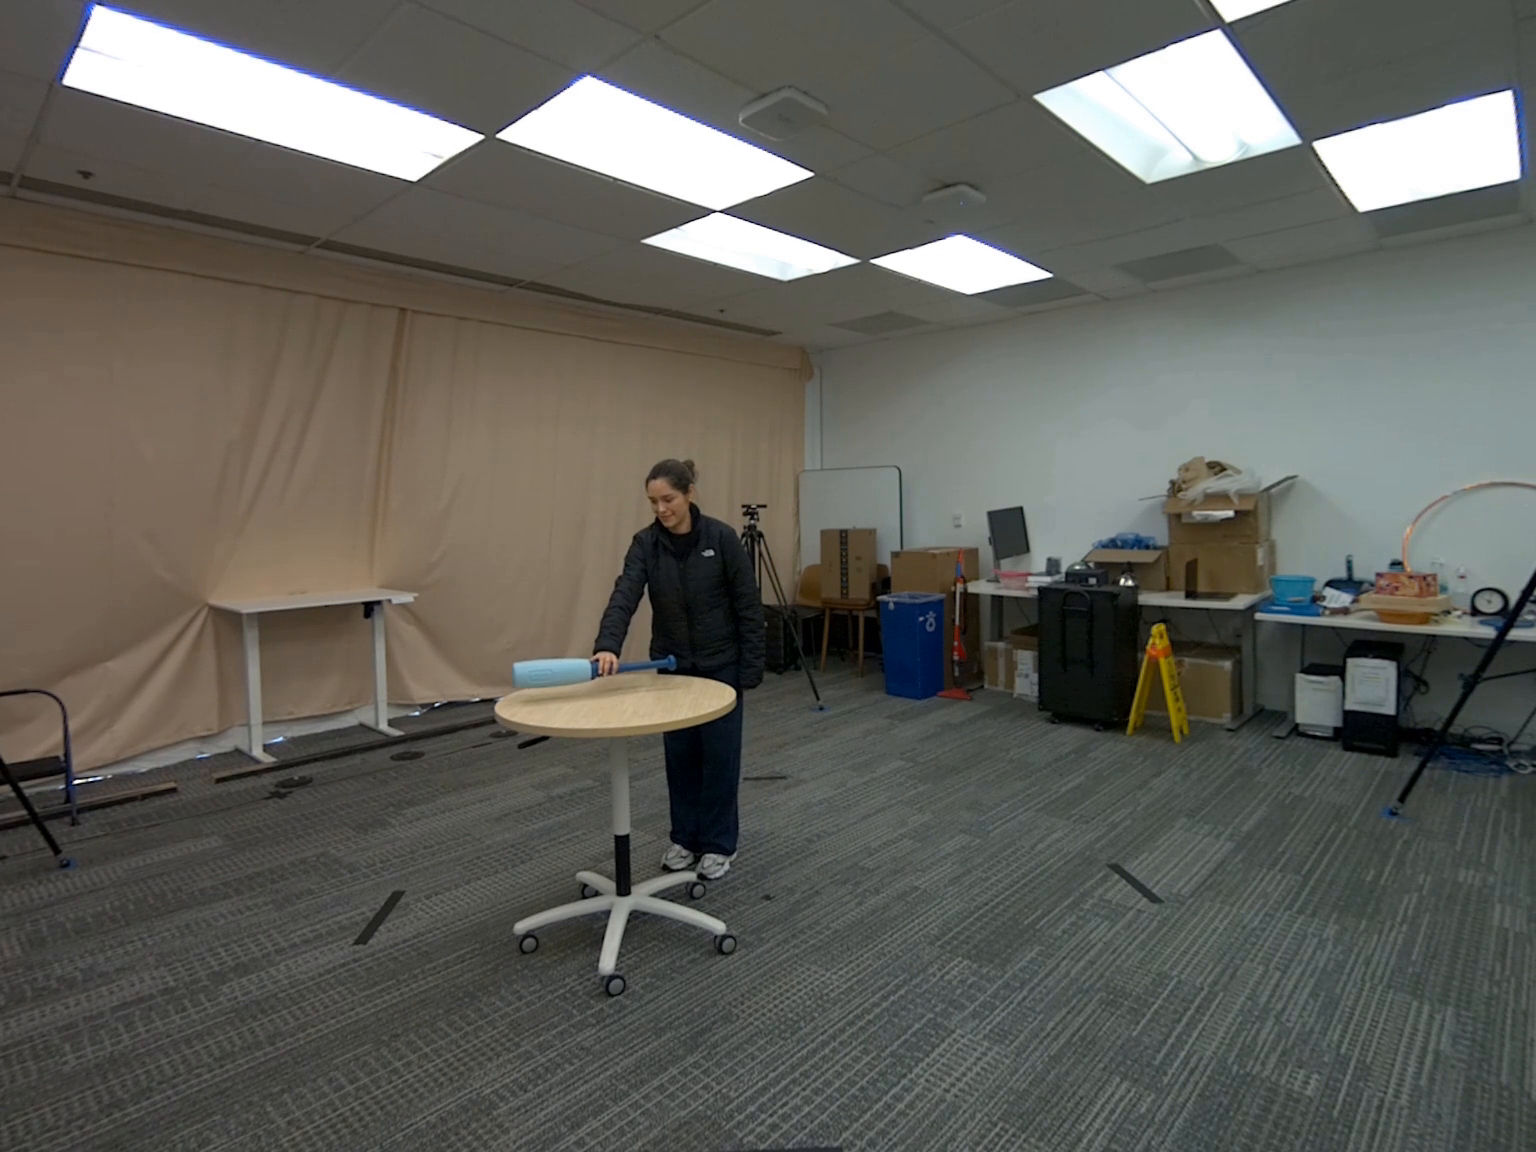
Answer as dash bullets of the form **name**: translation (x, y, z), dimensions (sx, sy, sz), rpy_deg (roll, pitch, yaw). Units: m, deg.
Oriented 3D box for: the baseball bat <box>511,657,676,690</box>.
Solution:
- **baseball bat**: translation (-0.563, 0.316, 2.735), dimensions (0.534, 0.089, 0.091), rpy_deg (0, 3, -16)
